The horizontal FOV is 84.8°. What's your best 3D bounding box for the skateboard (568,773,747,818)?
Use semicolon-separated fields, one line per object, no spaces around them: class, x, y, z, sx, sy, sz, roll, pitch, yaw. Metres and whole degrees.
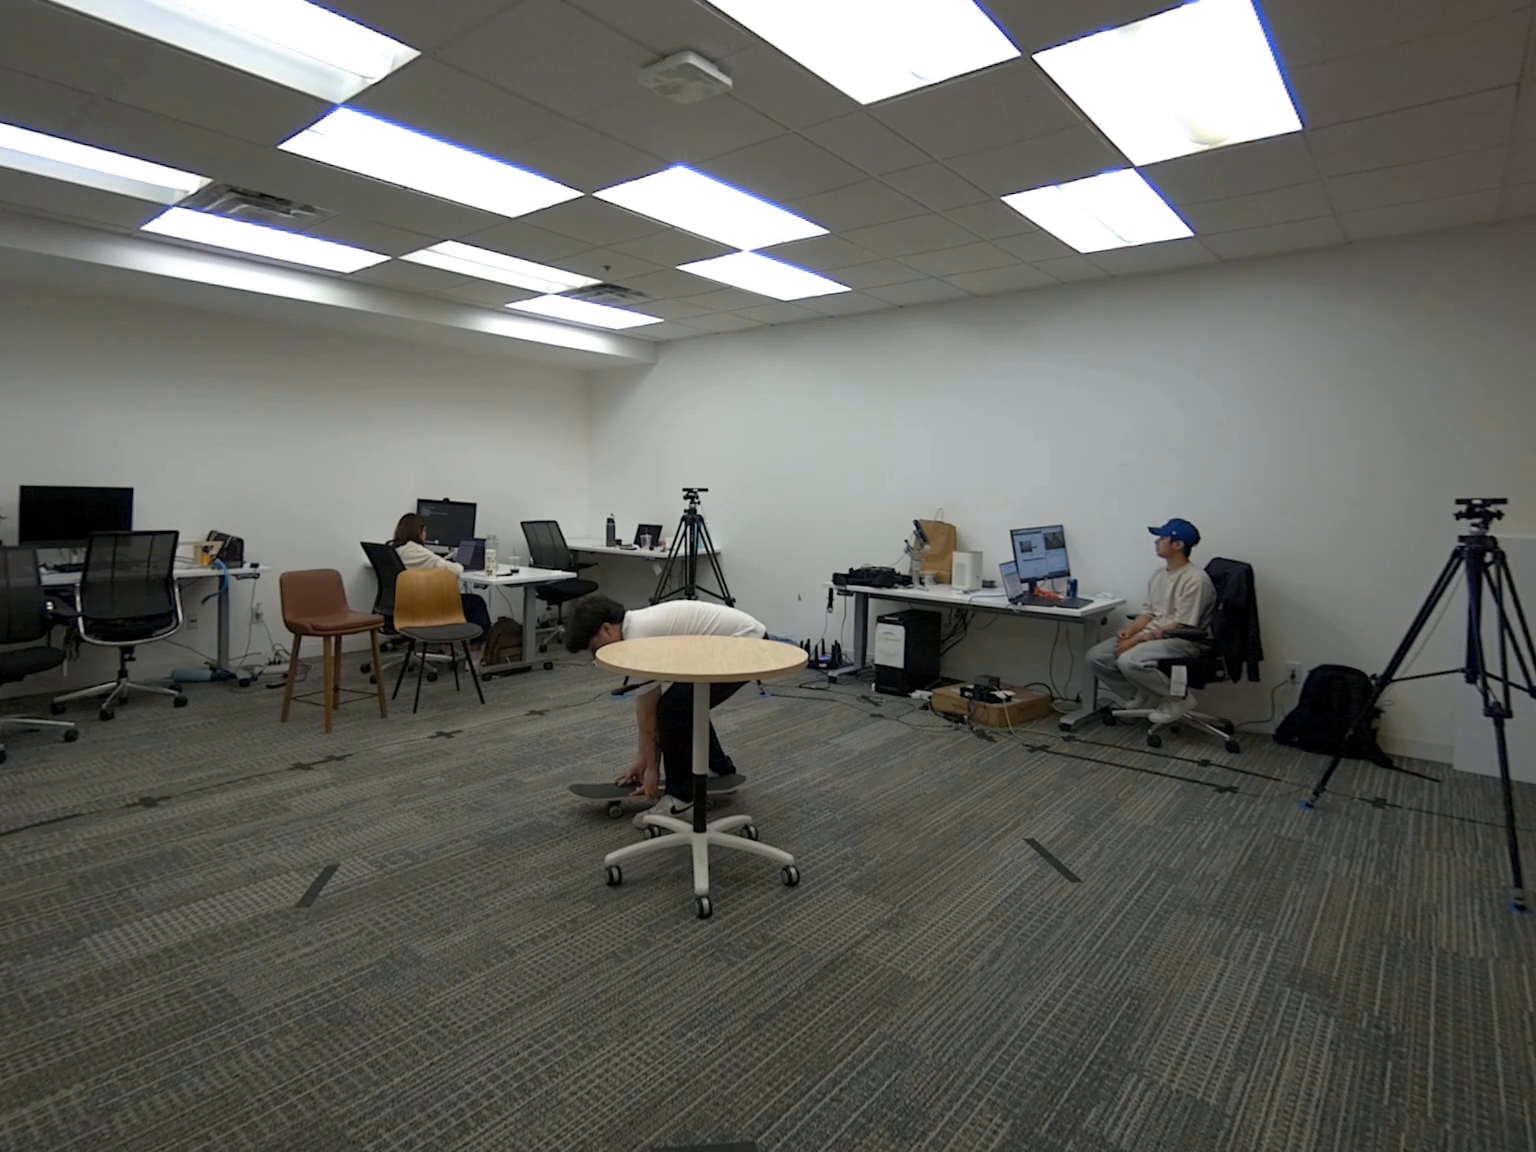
skateboard;-0.491;0.952;3.709;0.775;0.110;0.197;-1;6;-12
